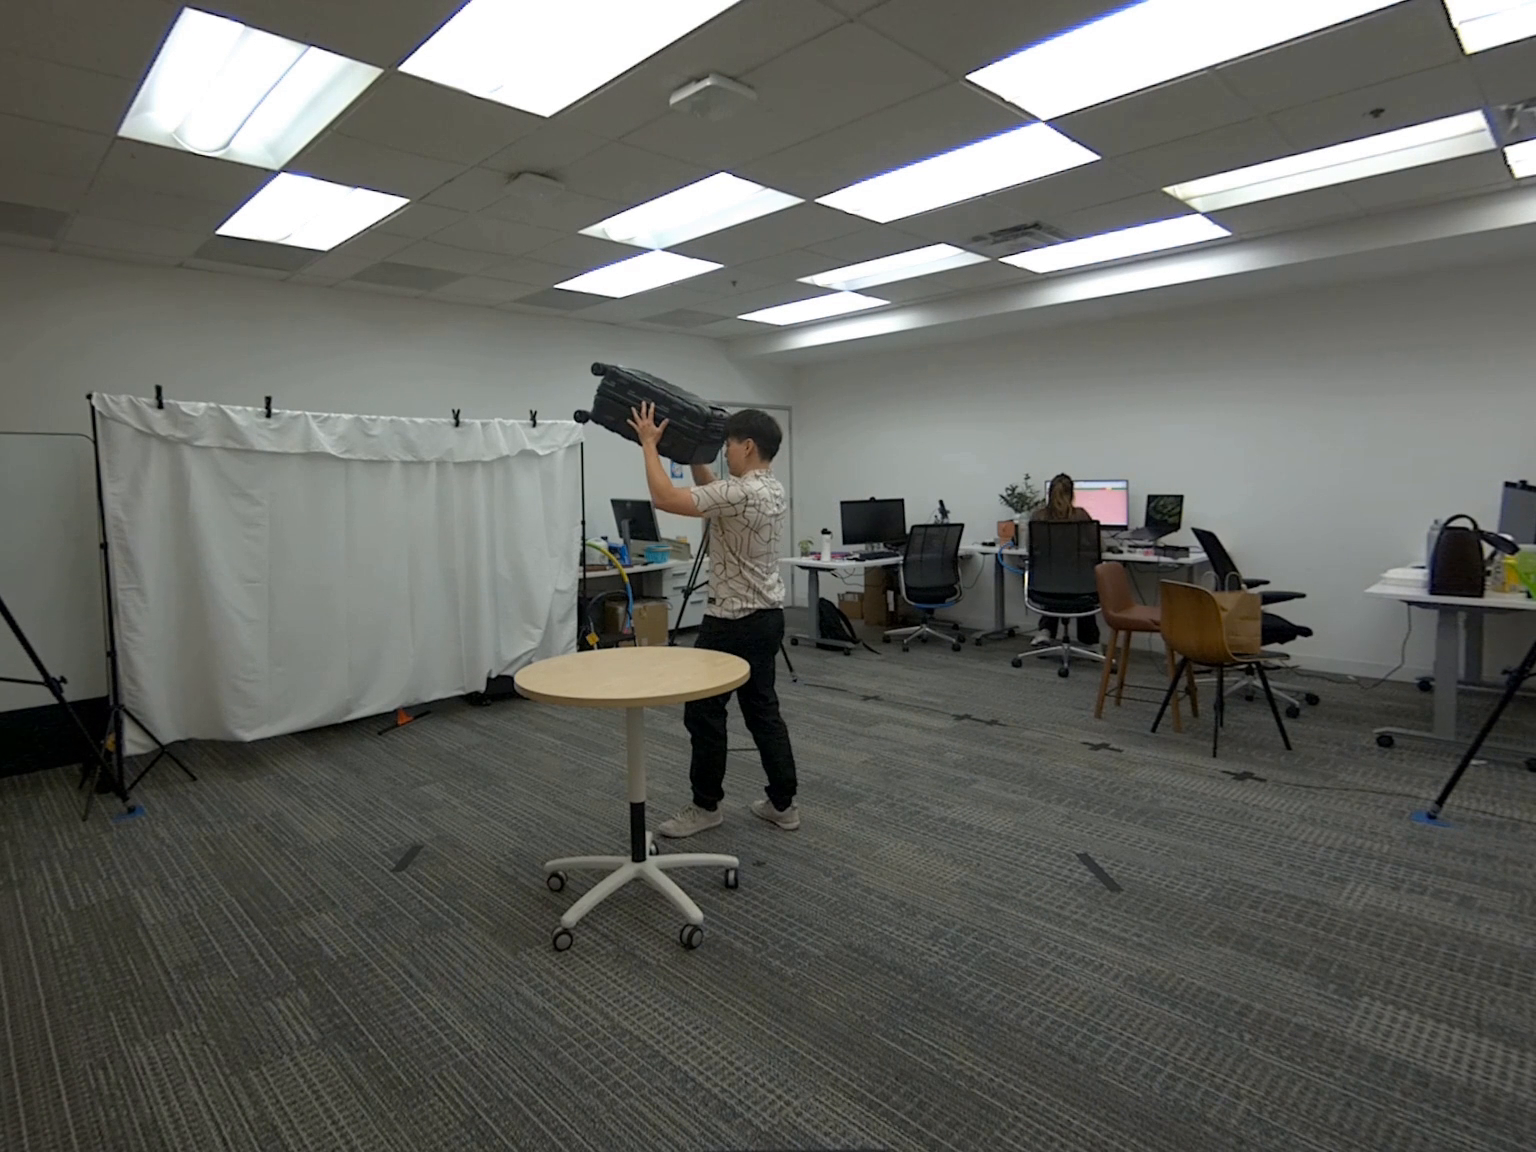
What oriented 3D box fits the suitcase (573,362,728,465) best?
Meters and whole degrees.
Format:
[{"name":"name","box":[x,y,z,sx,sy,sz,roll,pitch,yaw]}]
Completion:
[{"name":"suitcase","box":[-0.451,-0.657,3.497,0.562,0.247,0.369,27,14,17]}]
